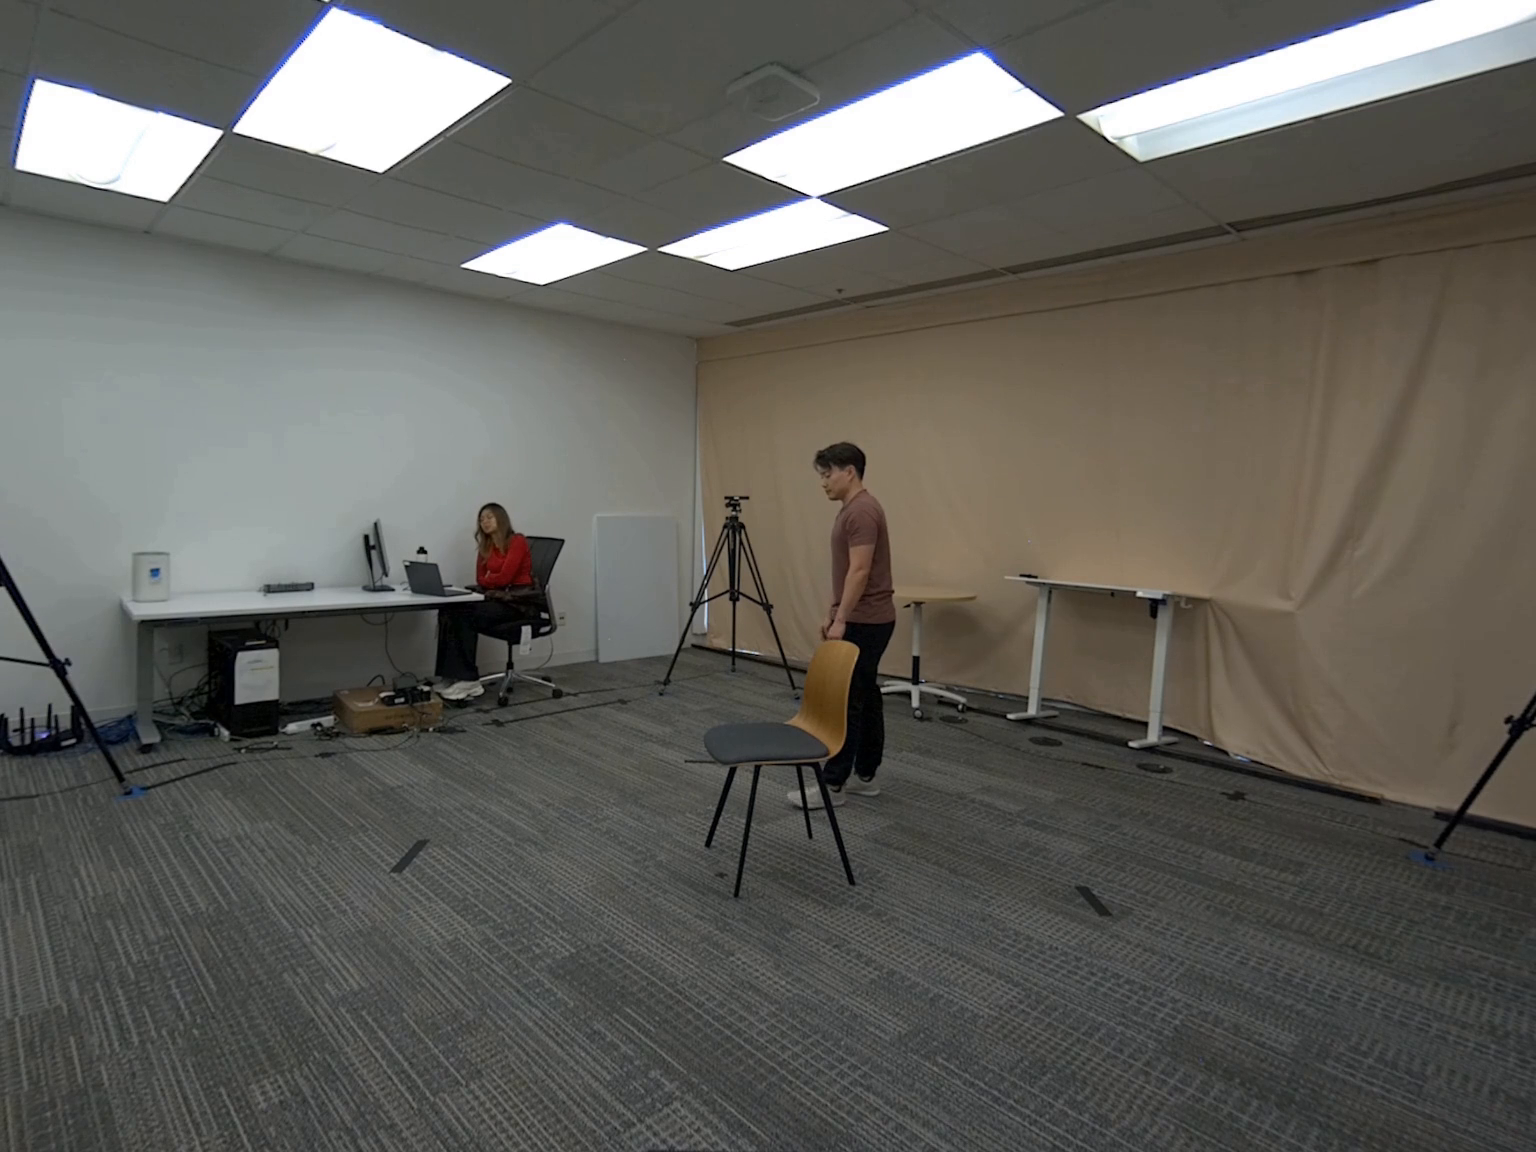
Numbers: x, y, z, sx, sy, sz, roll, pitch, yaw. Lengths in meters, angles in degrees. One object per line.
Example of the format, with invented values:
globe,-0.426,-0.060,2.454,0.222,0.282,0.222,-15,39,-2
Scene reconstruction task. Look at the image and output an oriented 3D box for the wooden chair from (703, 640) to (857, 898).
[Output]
wooden chair,0.032,0.677,3.166,0.516,0.876,0.485,5,2,-17
